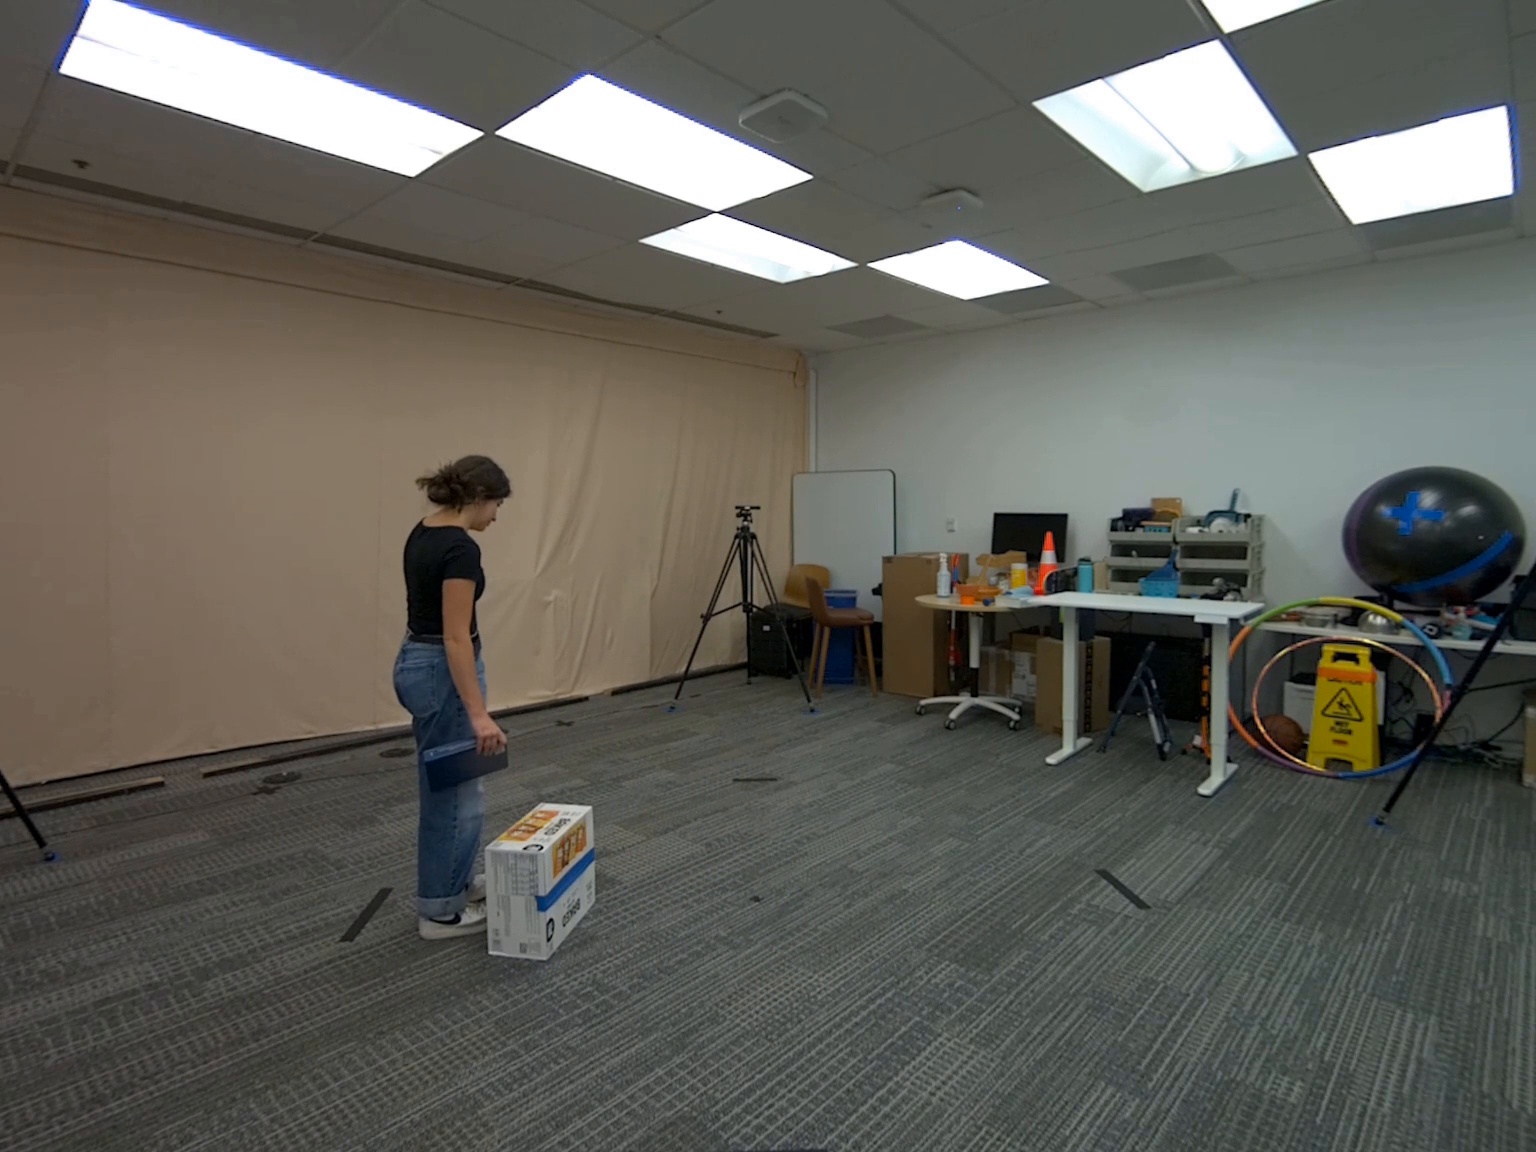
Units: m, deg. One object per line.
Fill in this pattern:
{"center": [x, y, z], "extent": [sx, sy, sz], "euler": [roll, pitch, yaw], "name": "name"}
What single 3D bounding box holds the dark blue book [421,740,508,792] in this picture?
{"center": [-0.931, 0.569, 2.595], "extent": [0.240, 0.161, 0.047], "euler": [-15, 47, -25], "name": "dark blue book"}
